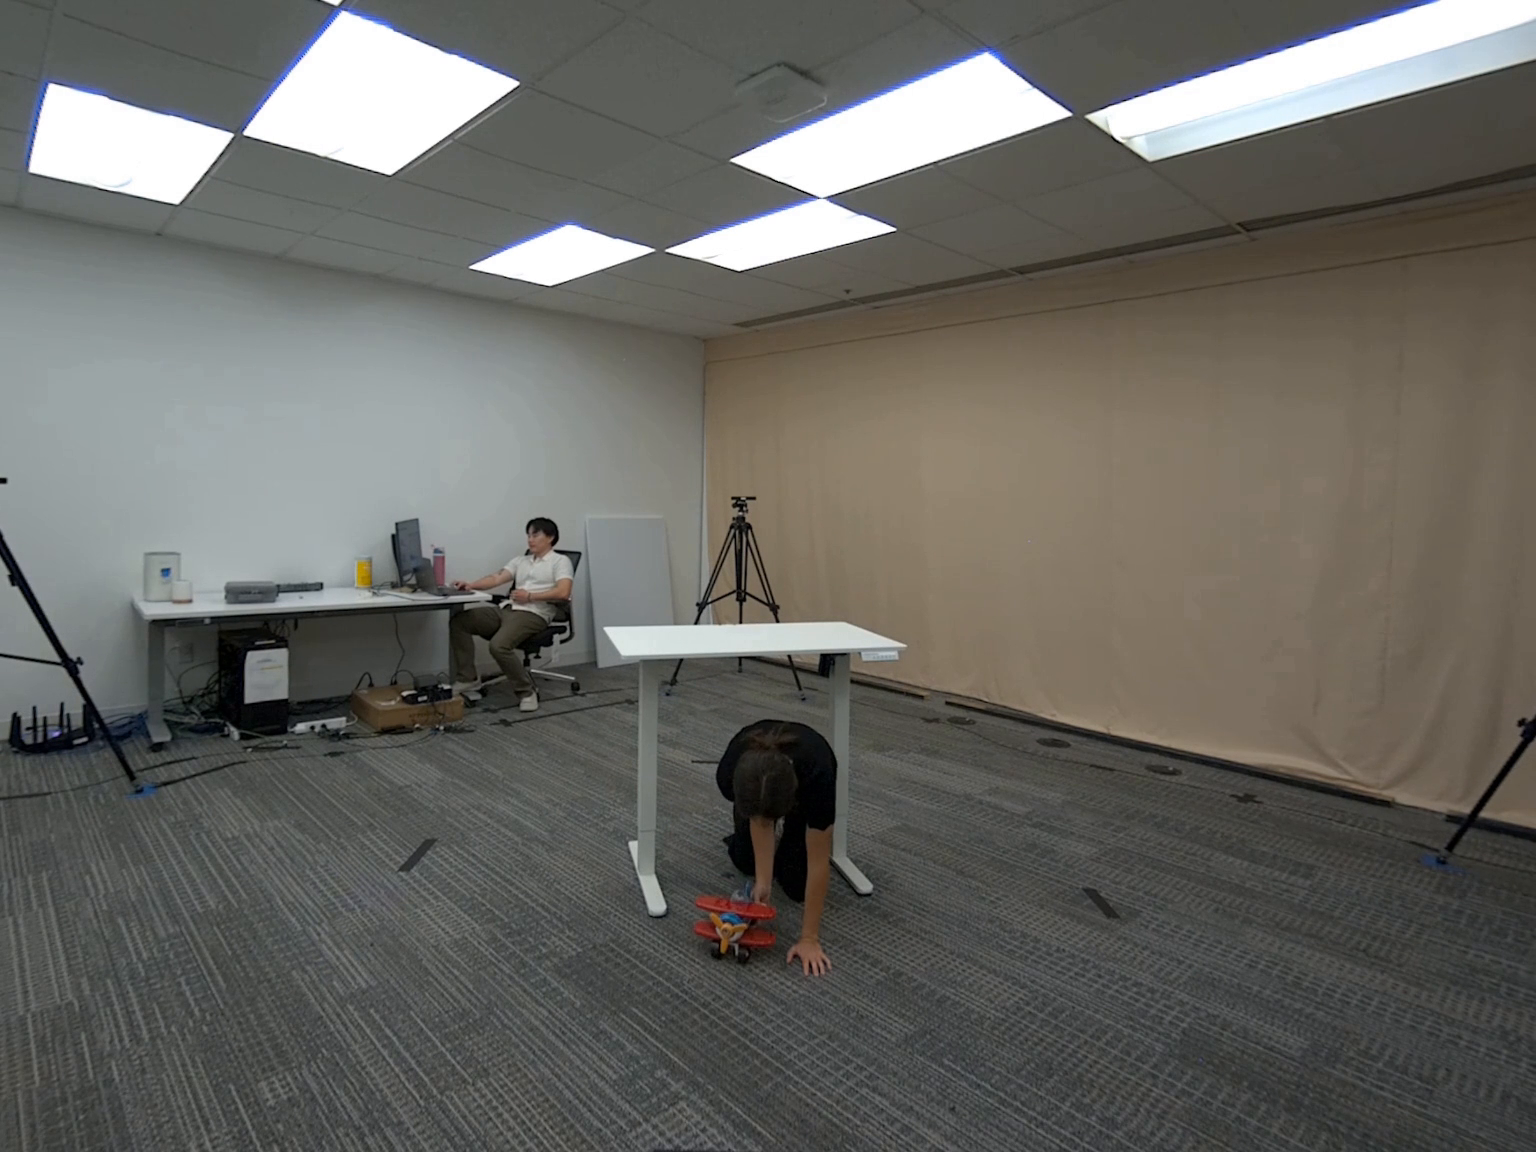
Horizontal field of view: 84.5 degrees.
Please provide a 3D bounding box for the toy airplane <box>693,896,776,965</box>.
[{"bbox_3d":[-0.120,1.069,2.609,0.249,0.155,0.264,-4,14,-12],"label":"toy airplane"}]
